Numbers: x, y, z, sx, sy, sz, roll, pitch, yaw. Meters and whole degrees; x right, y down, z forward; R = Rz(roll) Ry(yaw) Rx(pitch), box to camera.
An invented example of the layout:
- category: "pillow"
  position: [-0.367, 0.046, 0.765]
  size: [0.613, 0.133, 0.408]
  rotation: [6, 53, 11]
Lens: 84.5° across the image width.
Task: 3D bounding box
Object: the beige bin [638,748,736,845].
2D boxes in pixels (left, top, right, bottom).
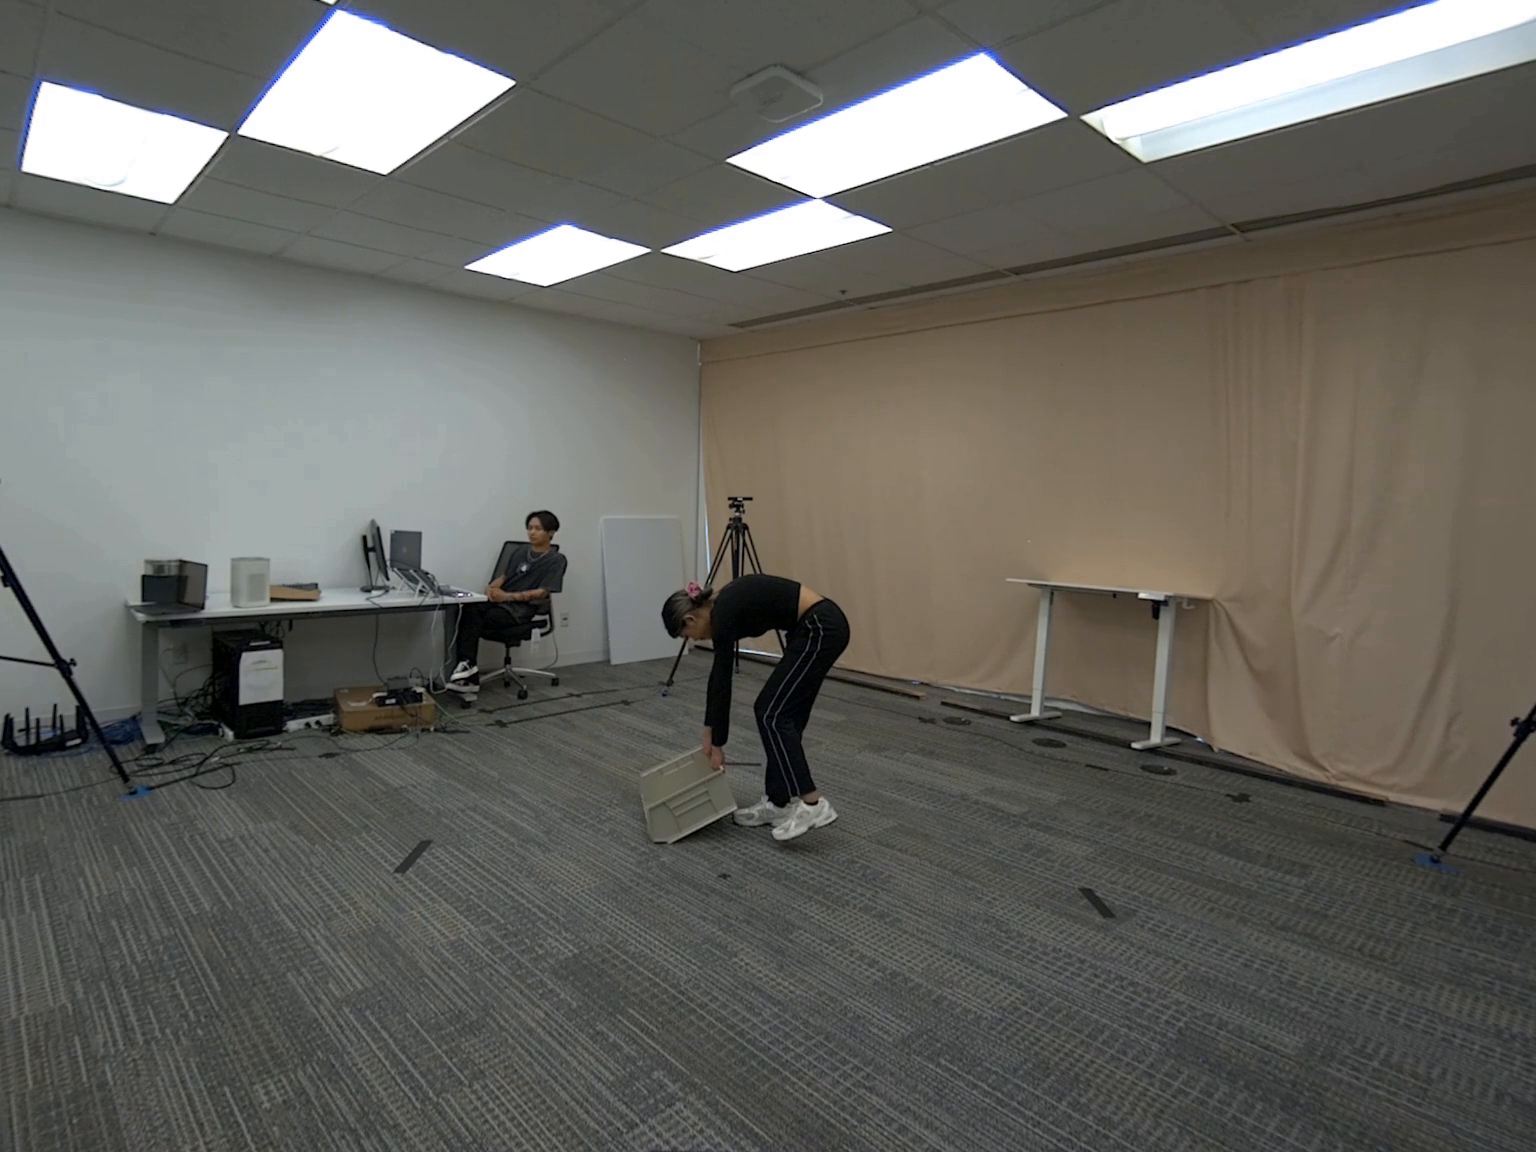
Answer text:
- category: "beige bin"
  position: [-0.368, 0.926, 3.585]
  size: [0.376, 0.188, 0.427]
  rotation: [-23, 8, -10]
